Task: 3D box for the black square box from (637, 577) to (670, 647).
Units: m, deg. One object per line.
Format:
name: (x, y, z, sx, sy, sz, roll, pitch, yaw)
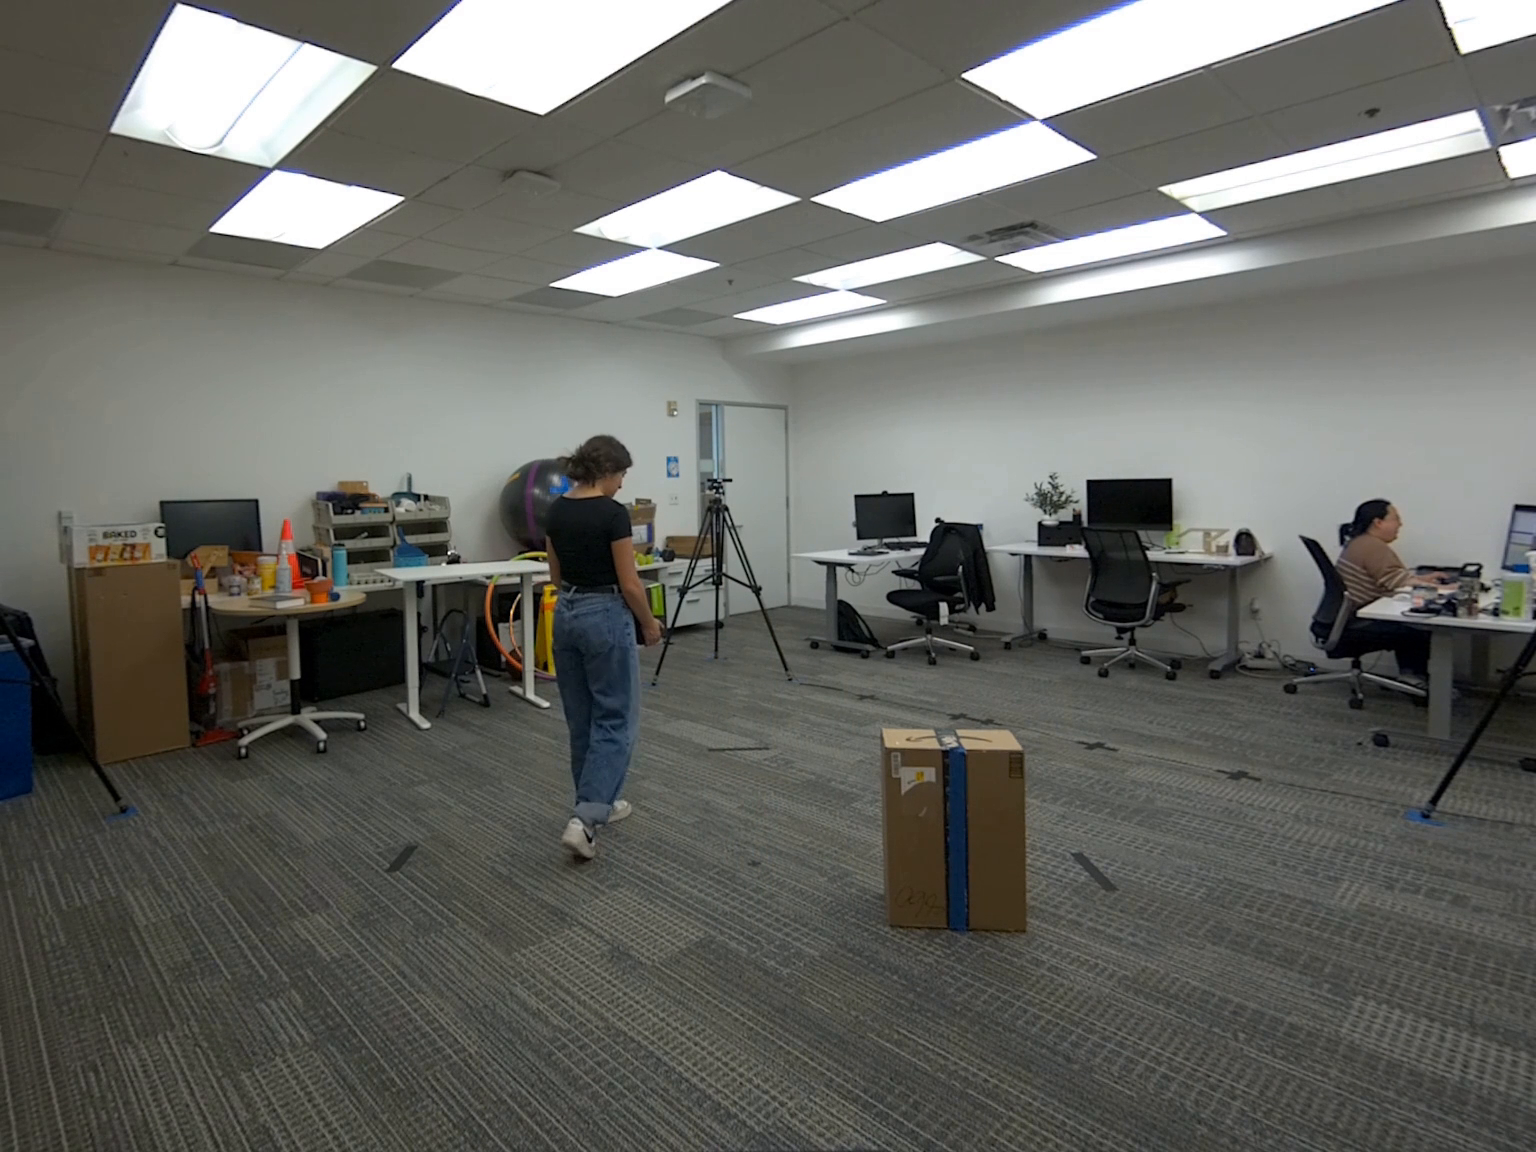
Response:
black square box: (-0.541, 0.139, 3.531, 0.224, 0.225, 0.152, 10, 15, 38)
